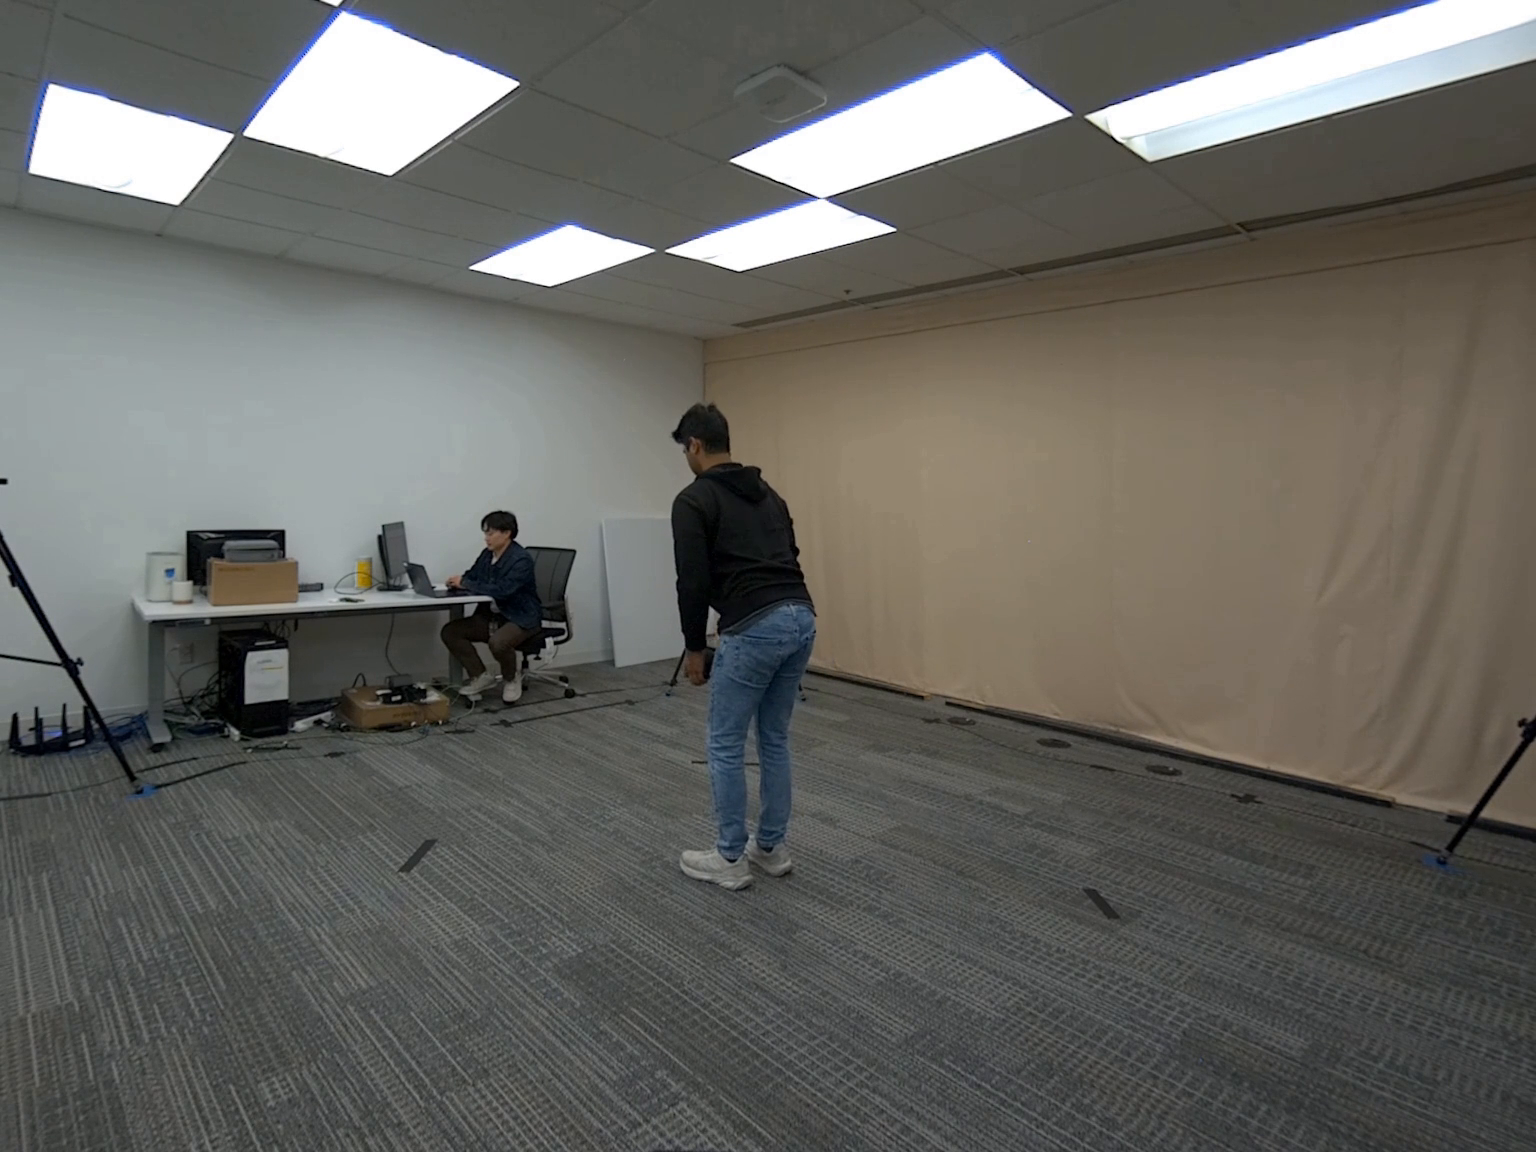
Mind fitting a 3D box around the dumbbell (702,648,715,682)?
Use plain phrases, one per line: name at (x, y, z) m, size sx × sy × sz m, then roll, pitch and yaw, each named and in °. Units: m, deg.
dumbbell at (-0.163, 0.340, 3.198) m, size 0.287 × 0.108 × 0.127 m, roll -3°, pitch 37°, yaw -42°
